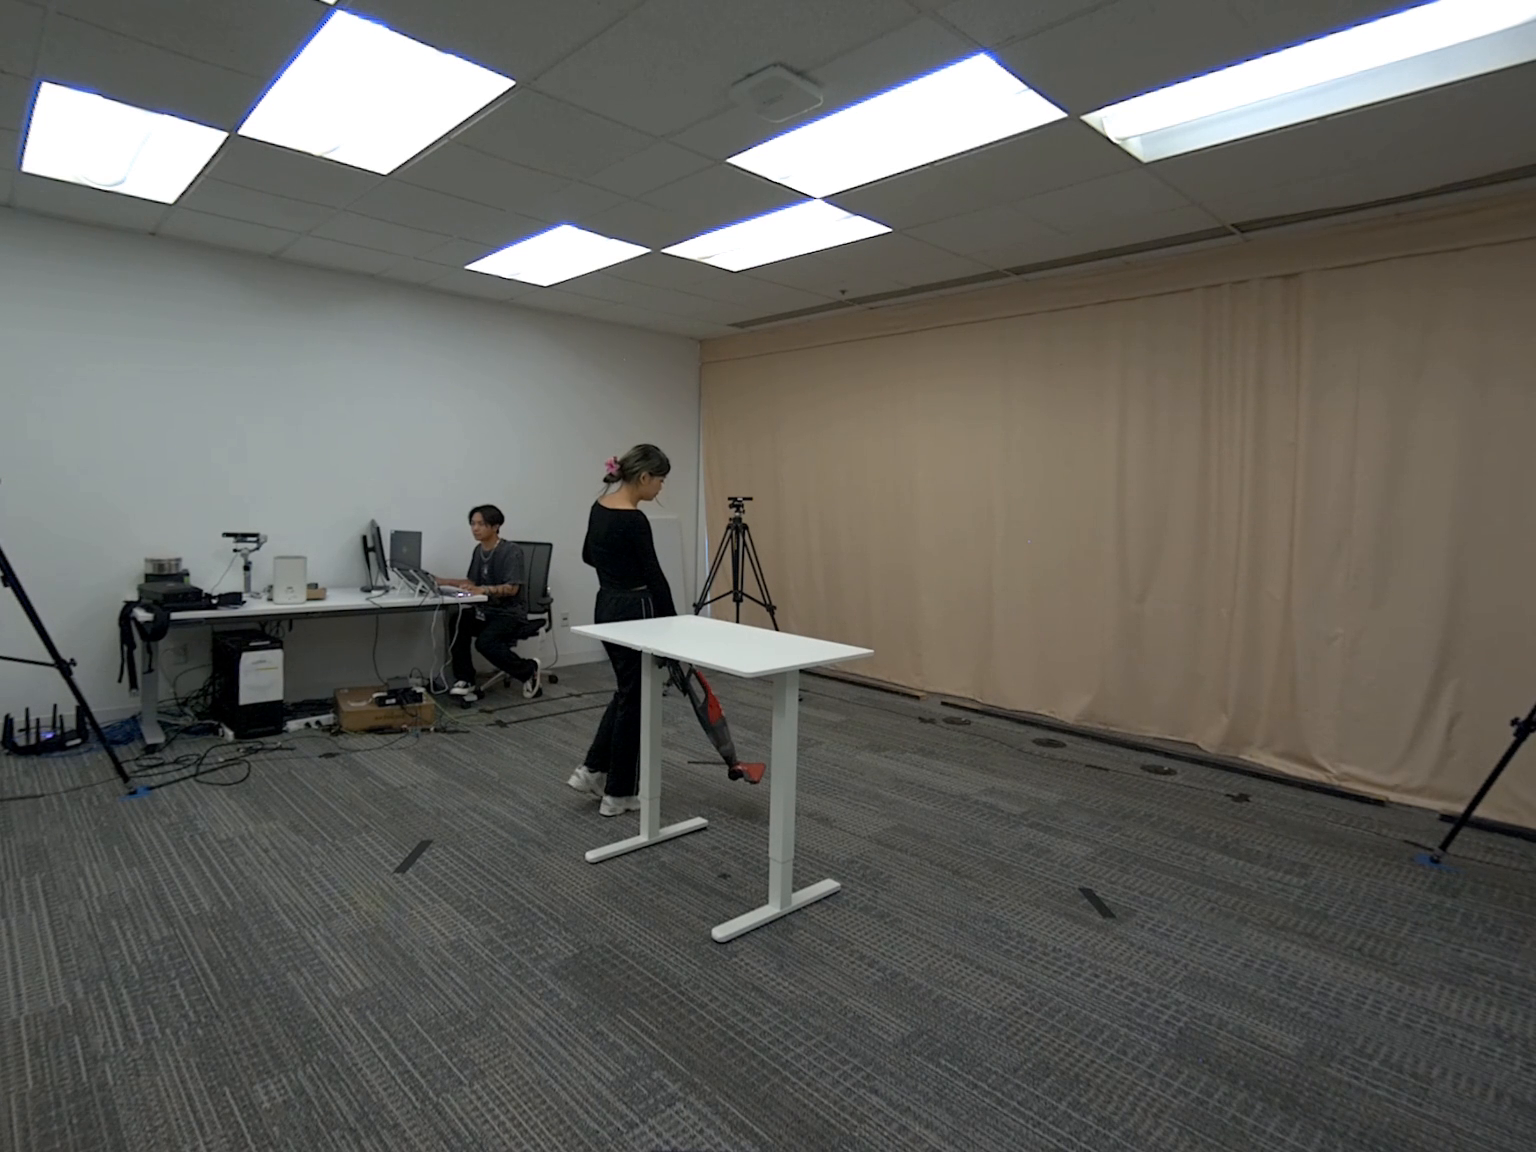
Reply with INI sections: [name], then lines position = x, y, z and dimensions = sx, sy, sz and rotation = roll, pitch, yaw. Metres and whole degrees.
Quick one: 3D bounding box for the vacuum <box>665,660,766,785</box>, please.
[vacuum]
position = -0.365, 0.440, 3.798
dimensions = 0.144, 1.054, 0.250
rotation = -30, -4, 10
